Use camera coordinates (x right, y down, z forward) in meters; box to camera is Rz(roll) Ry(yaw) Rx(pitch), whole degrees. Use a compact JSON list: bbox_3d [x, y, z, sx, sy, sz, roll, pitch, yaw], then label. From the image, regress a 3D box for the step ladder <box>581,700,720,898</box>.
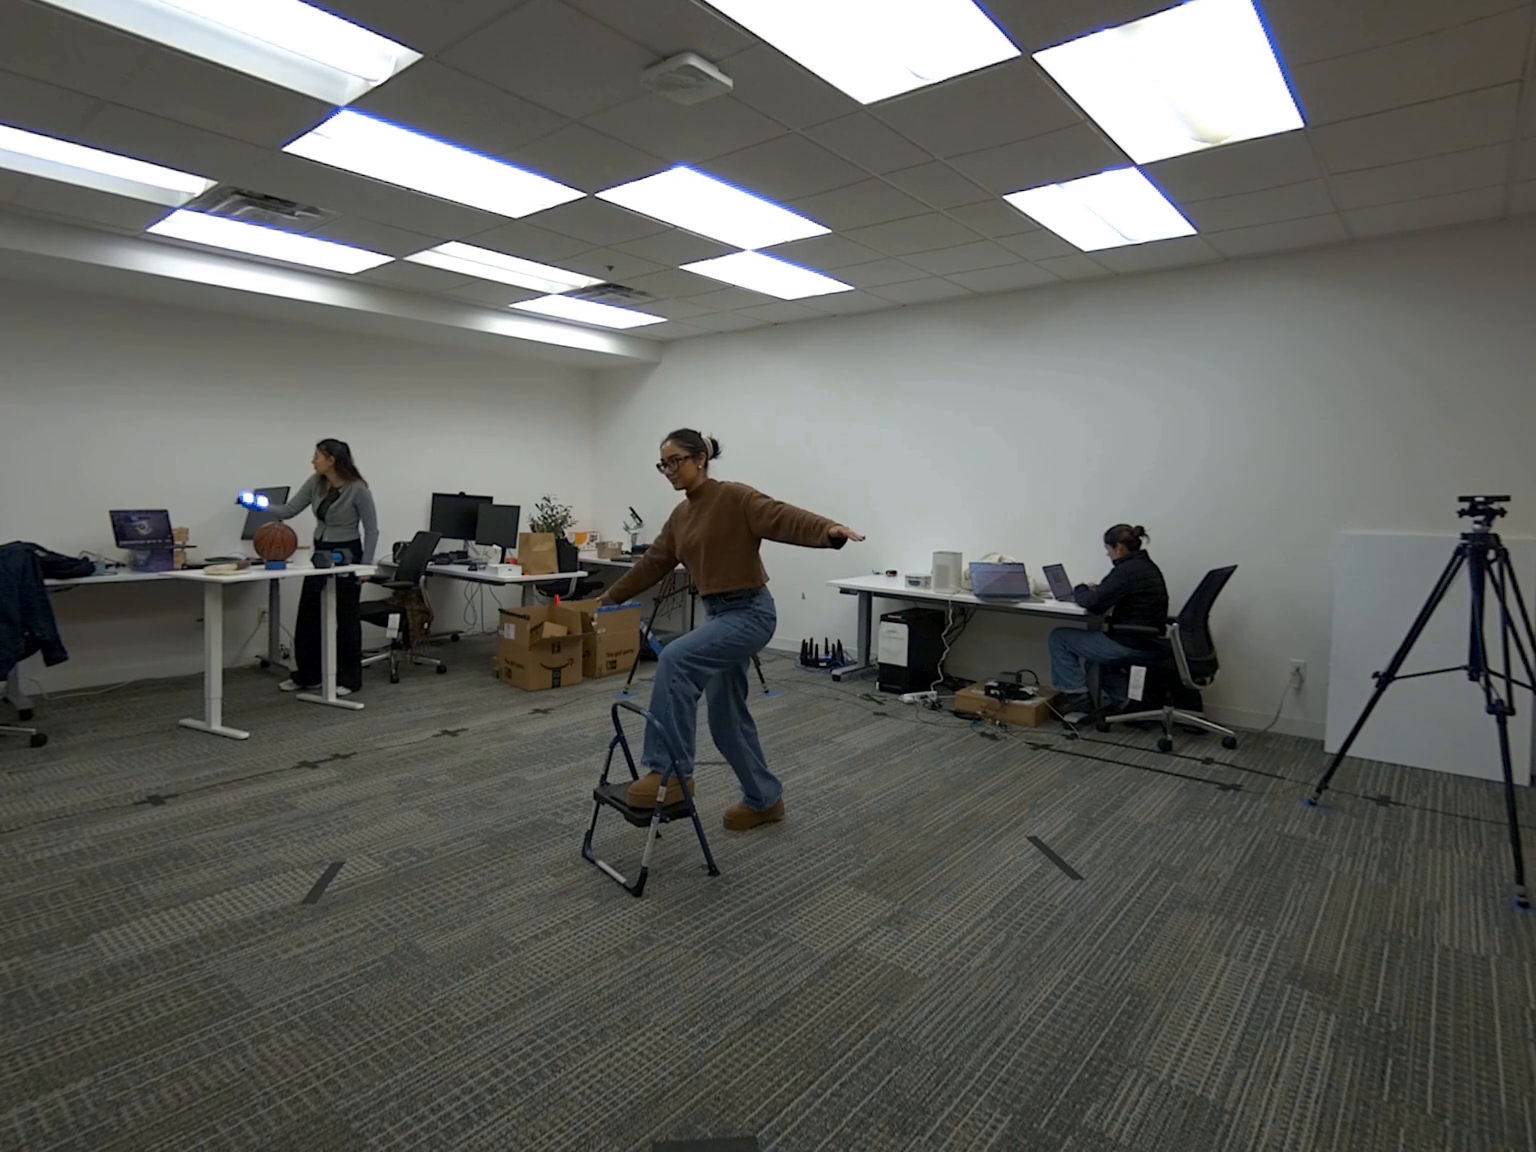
[{"bbox_3d":[-0.448,0.759,3.116,0.339,0.604,0.445,-2,5,-39],"label":"step ladder"}]
